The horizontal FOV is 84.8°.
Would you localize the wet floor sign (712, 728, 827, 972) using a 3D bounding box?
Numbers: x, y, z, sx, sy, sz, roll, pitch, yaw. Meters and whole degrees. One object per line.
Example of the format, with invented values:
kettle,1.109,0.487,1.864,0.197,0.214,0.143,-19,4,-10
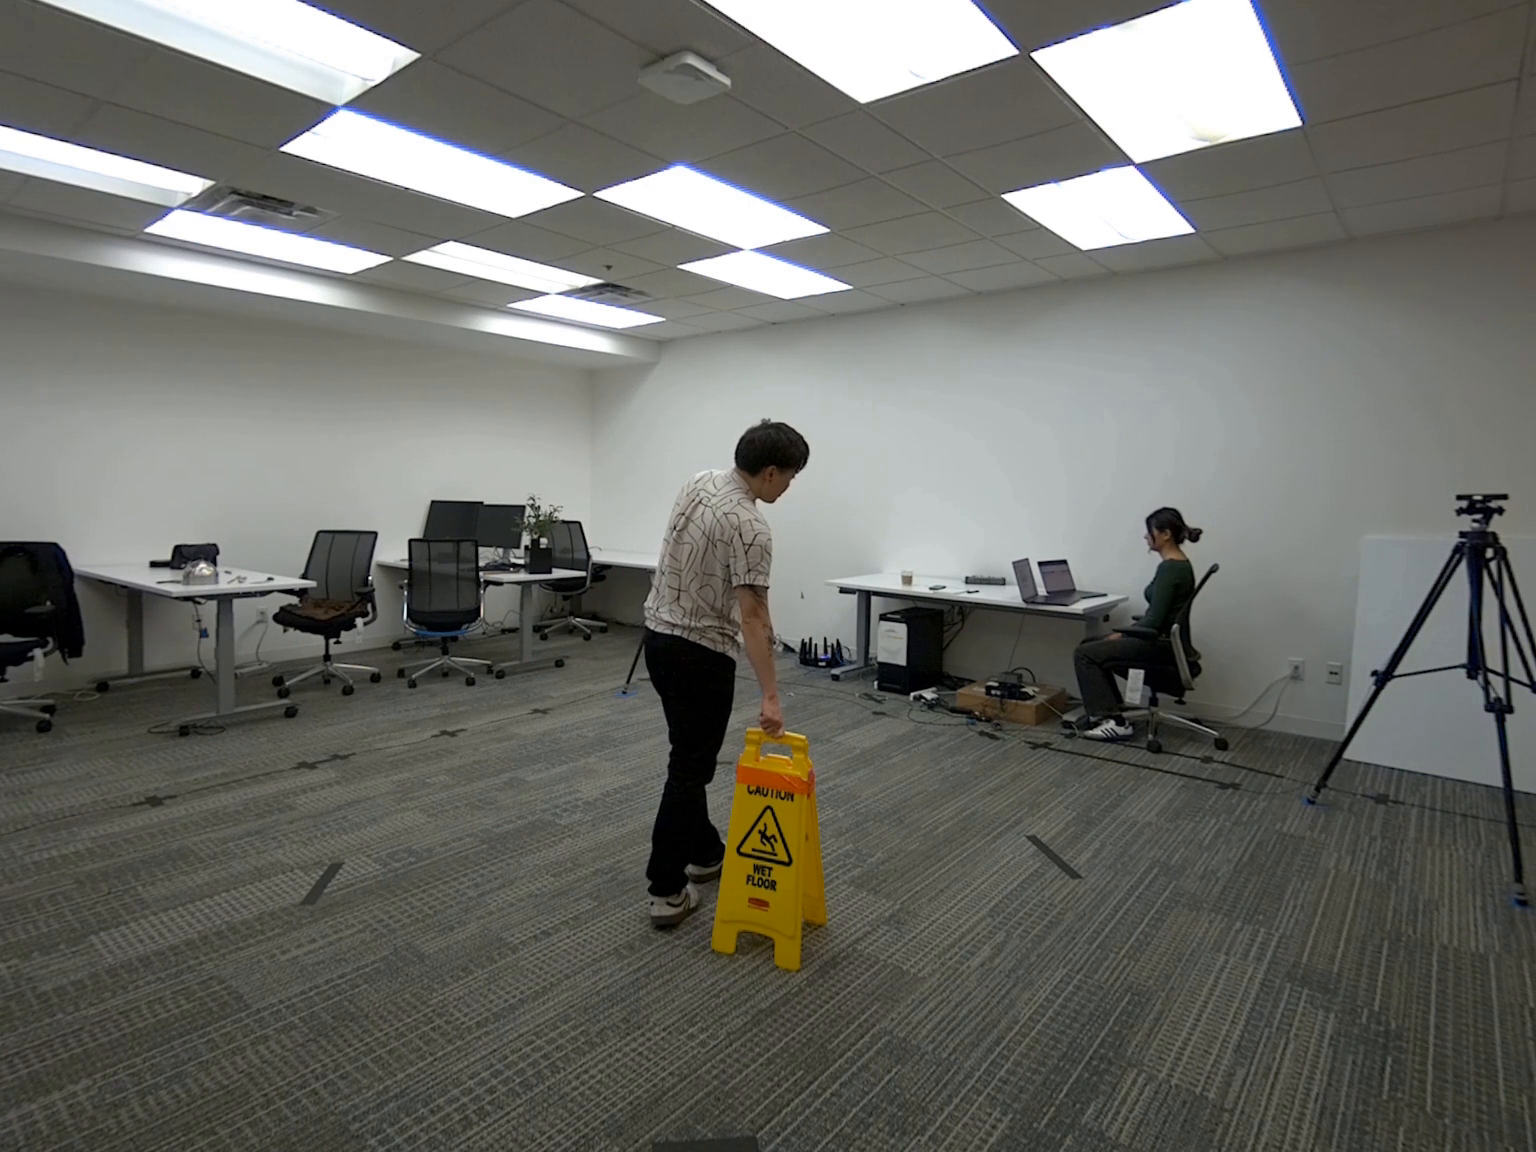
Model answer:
wet floor sign,0.012,0.794,2.623,0.289,0.645,0.284,3,2,21
